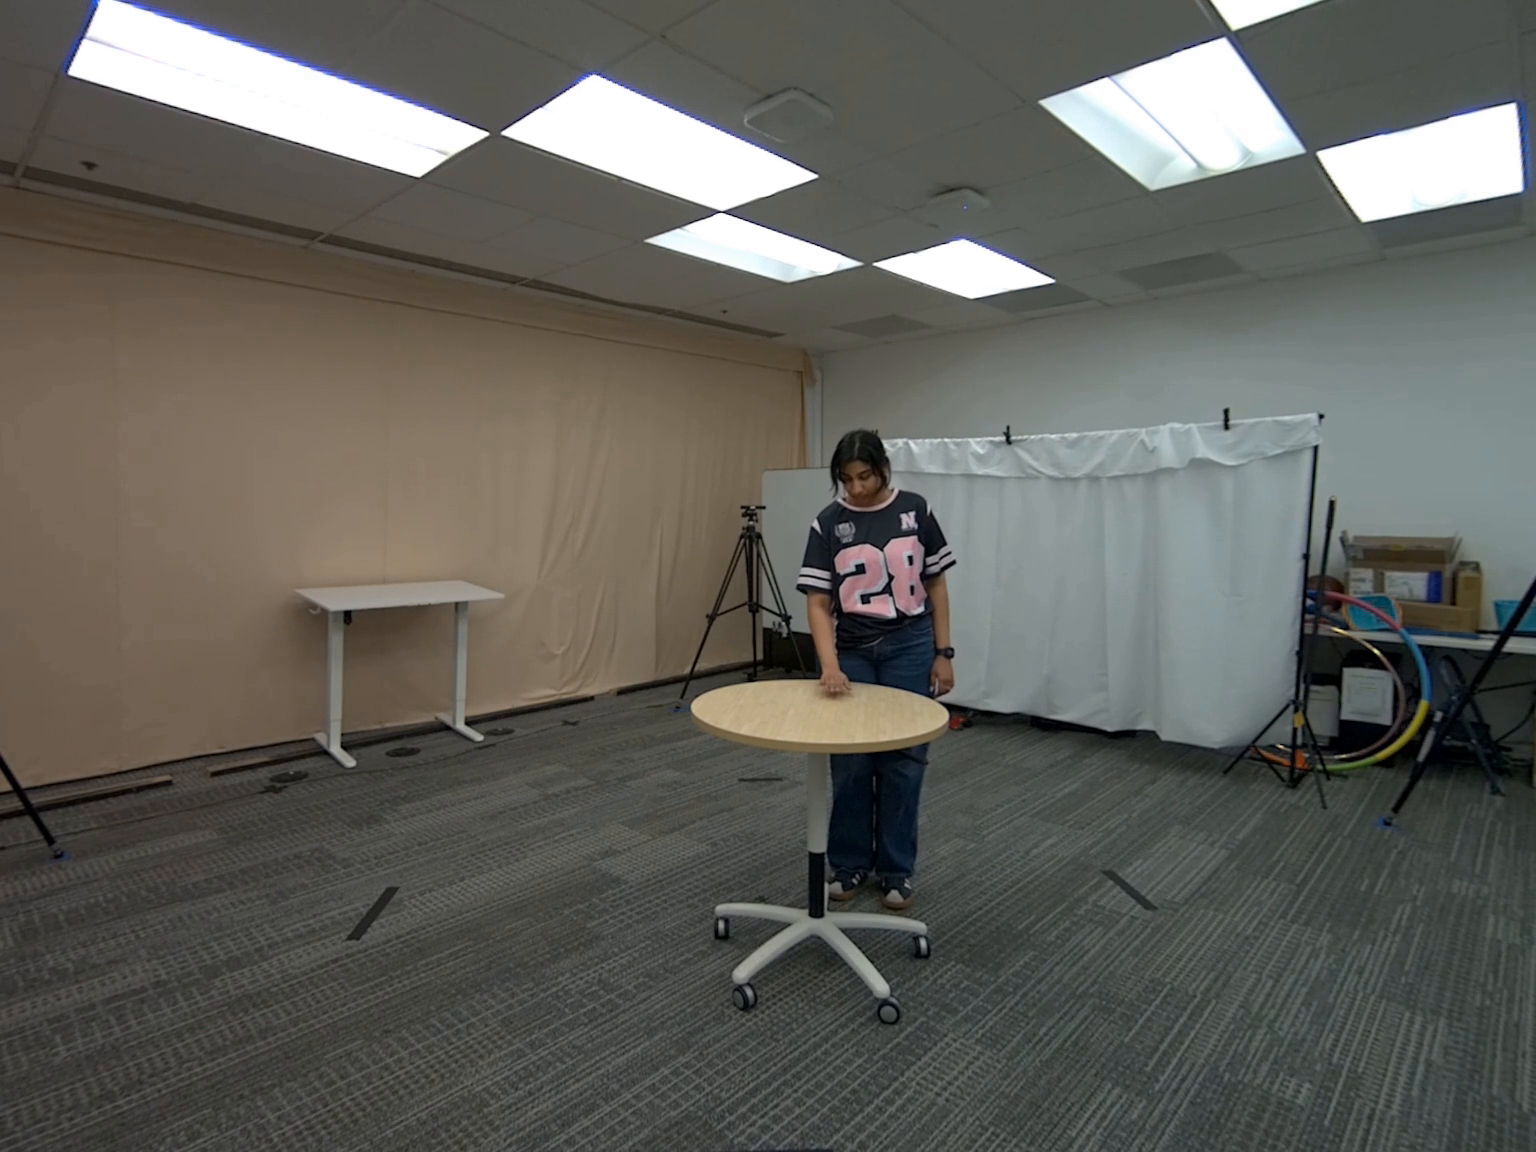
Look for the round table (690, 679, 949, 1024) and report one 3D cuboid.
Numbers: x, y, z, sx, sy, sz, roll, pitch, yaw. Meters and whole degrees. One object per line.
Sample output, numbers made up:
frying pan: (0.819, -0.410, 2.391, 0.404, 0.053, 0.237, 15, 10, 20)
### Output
round table: (0.163, 0.788, 2.553, 0.784, 0.785, 0.788, 0, 4, -2)
